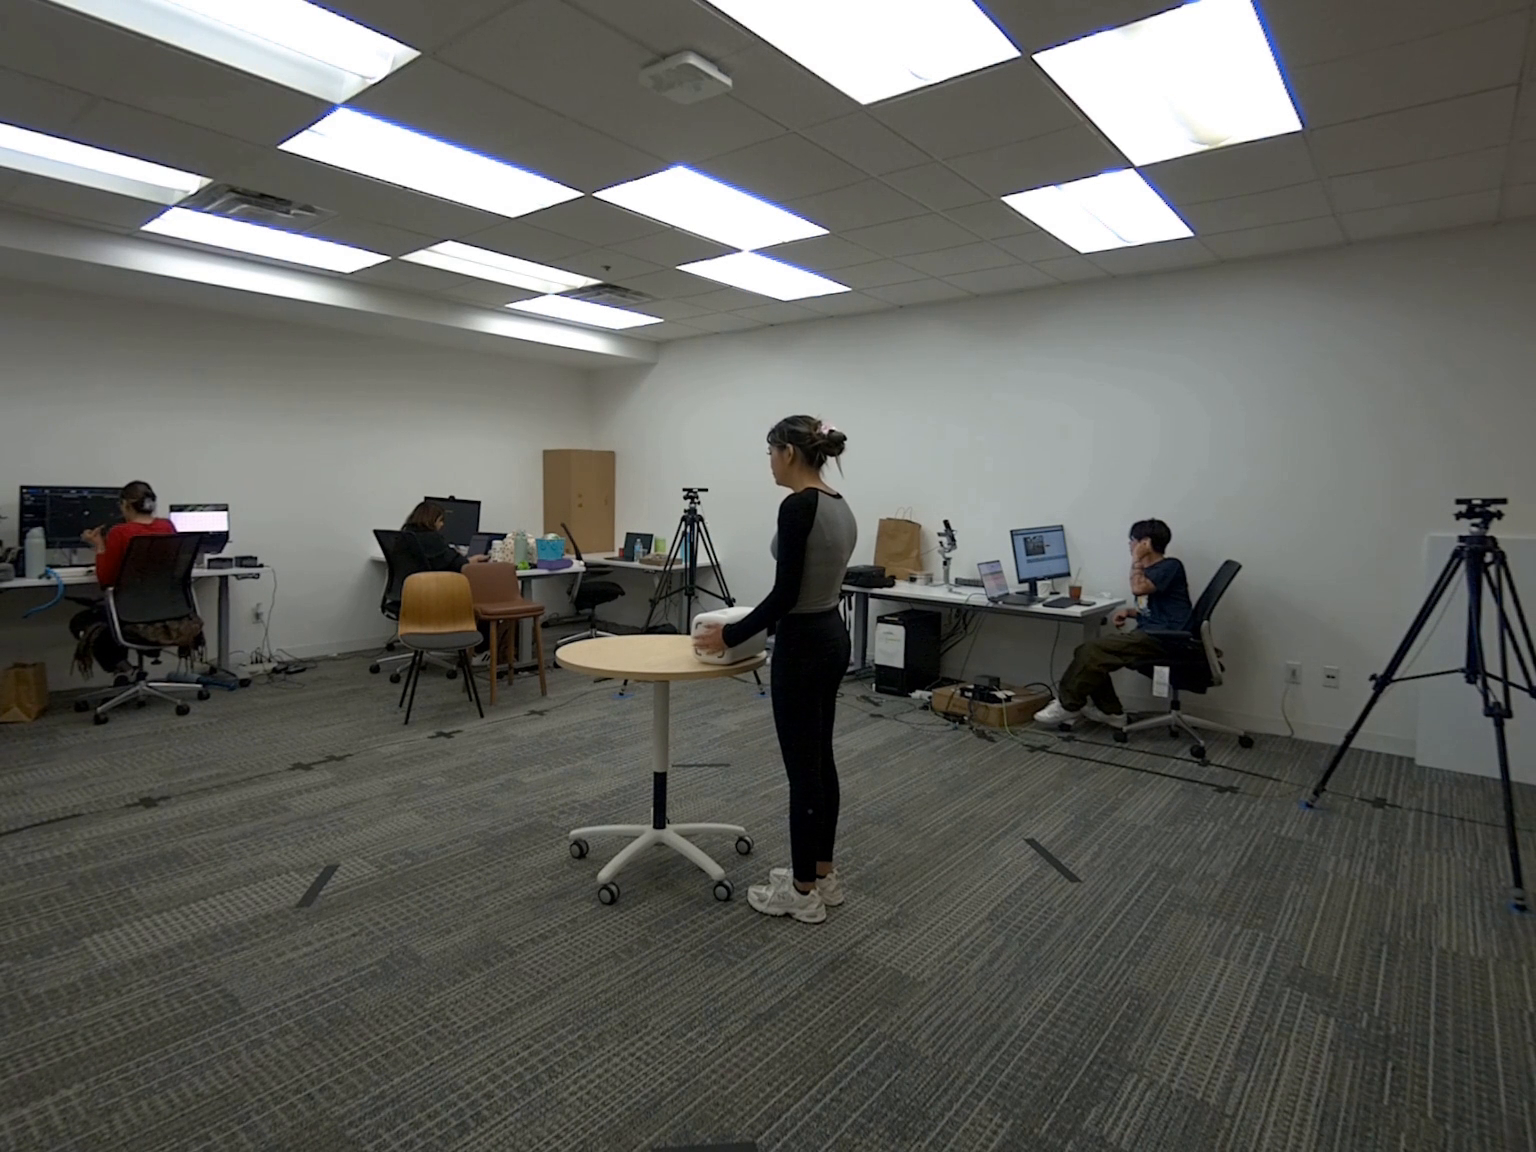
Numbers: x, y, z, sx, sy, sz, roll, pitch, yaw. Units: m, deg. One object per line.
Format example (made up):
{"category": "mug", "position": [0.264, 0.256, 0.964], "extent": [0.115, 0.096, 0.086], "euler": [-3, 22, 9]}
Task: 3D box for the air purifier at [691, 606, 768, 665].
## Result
{"category": "air purifier", "position": [-0.151, 0.201, 2.973], "extent": [0.176, 0.171, 0.259], "euler": [4, 5, 27]}
